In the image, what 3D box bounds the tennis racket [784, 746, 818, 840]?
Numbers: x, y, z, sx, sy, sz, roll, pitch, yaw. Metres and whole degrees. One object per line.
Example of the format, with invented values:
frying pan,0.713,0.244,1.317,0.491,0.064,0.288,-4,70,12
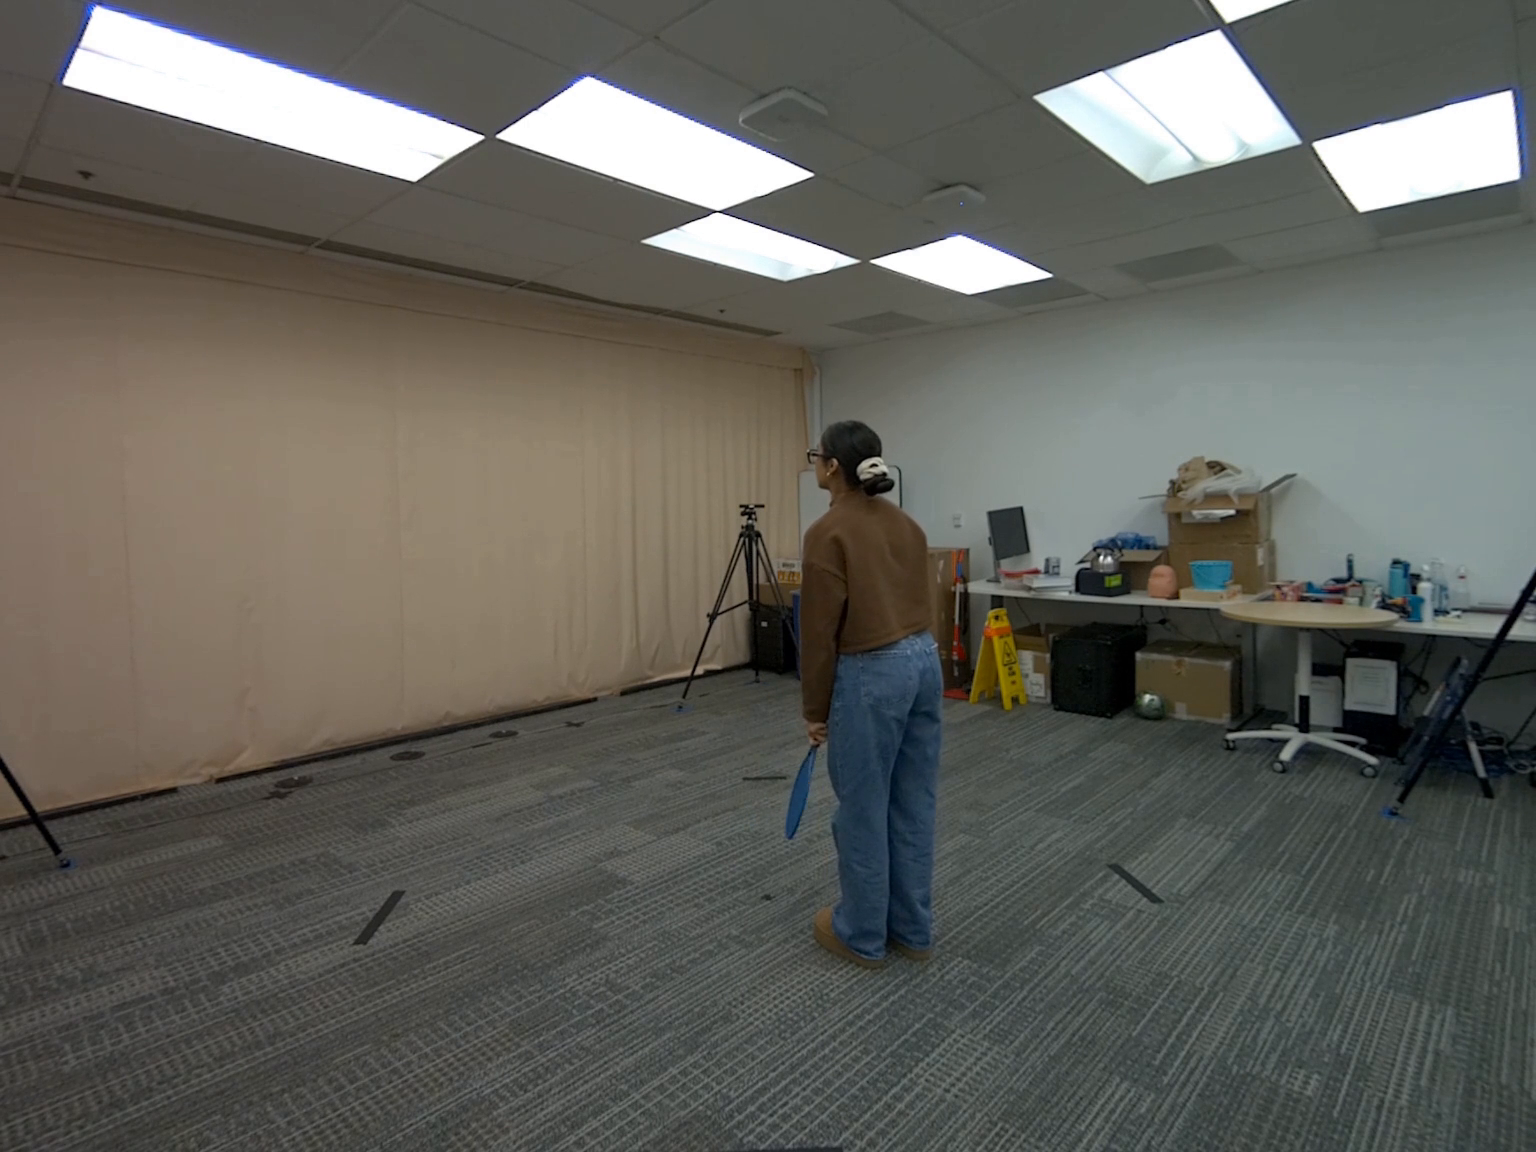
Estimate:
tennis racket,0.137,0.629,2.626,0.031,0.429,0.217,10,23,-8
